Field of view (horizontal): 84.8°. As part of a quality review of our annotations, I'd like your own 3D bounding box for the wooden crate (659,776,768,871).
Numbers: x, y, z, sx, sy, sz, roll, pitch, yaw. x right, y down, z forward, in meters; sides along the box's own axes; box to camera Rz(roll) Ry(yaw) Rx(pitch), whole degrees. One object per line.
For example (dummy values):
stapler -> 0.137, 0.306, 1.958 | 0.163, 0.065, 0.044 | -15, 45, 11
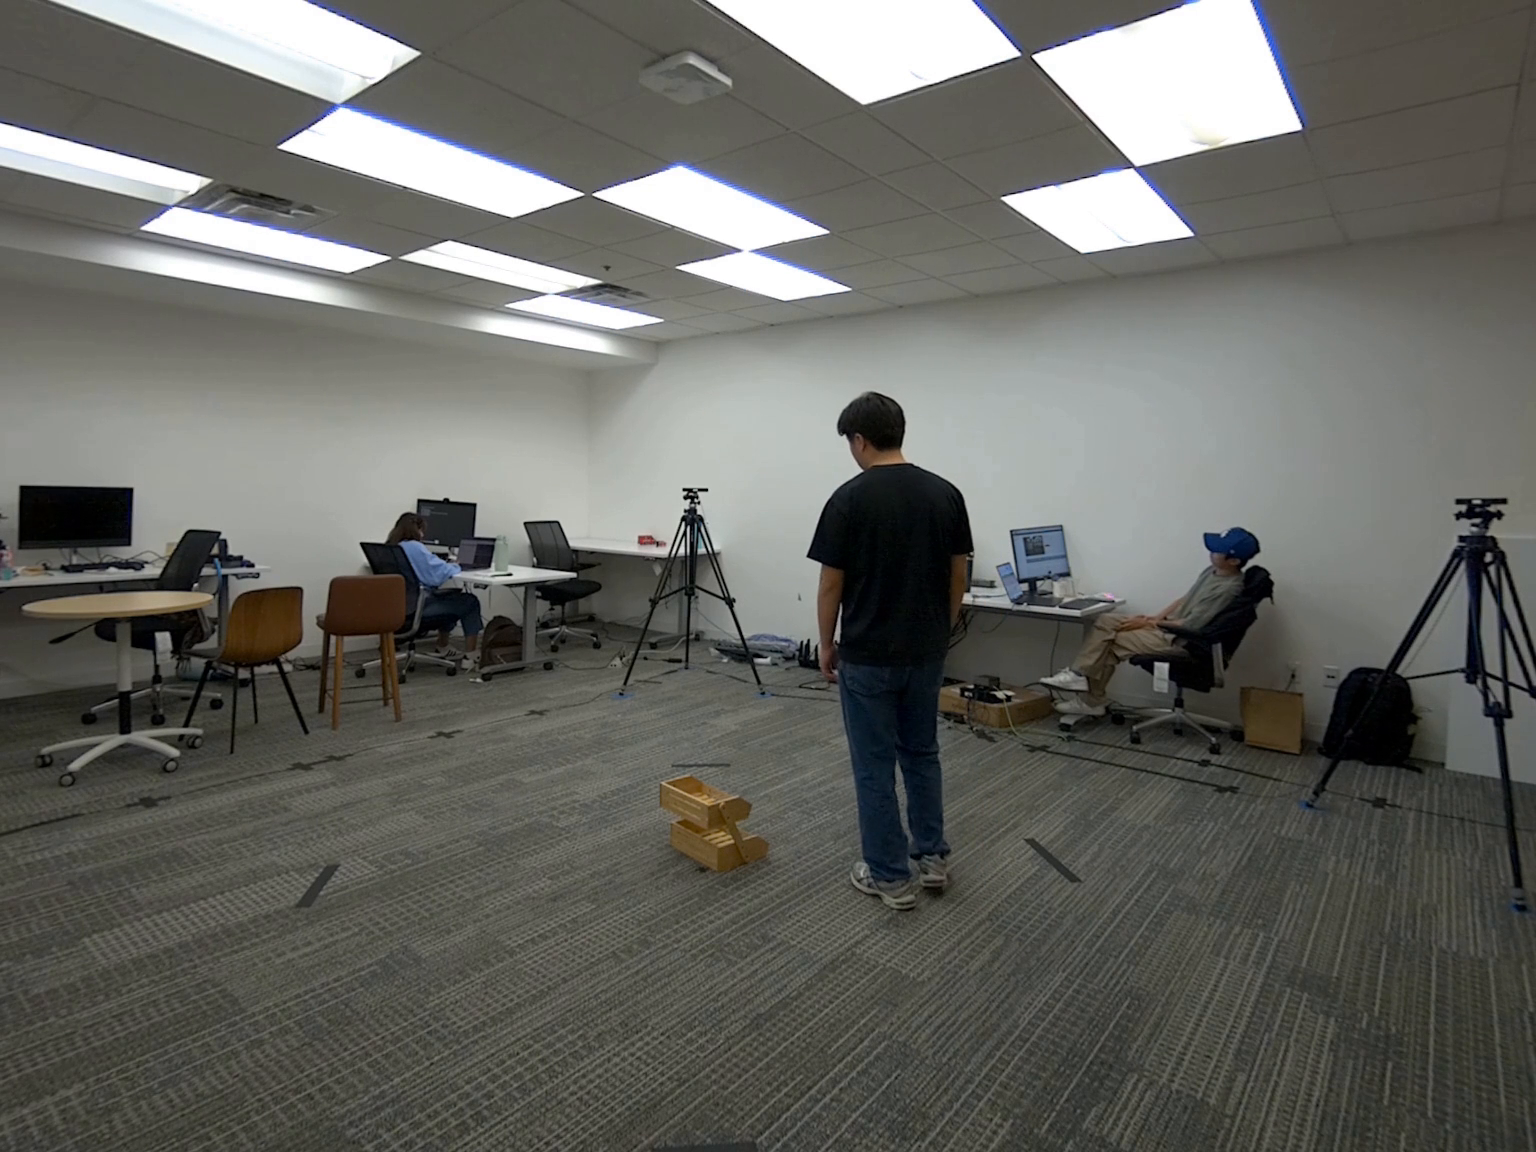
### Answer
wooden crate -> -0.214, 0.921, 3.257 | 0.293, 0.272, 0.335 | -3, 6, -41
